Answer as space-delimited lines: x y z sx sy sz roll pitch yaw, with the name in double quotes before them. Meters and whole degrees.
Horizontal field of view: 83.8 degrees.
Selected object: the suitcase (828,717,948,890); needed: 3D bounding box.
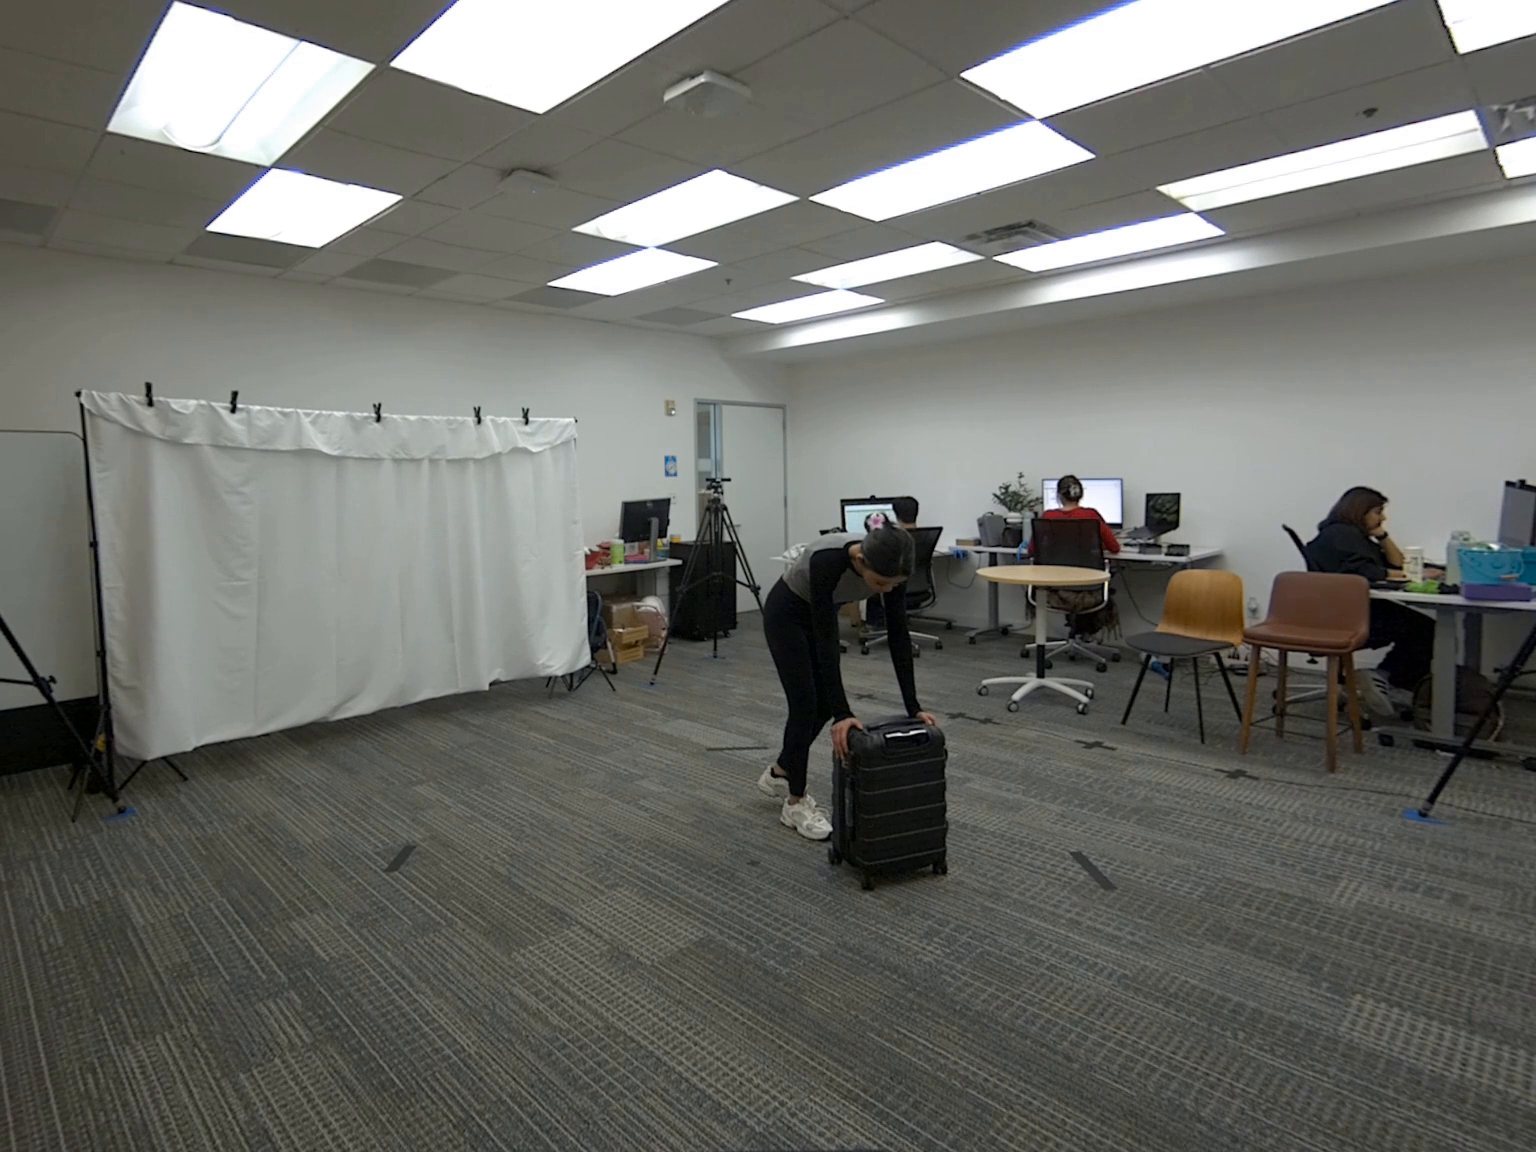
"suitcase" 0.431 0.770 3.007 0.368 0.547 0.254 -3 5 -22
